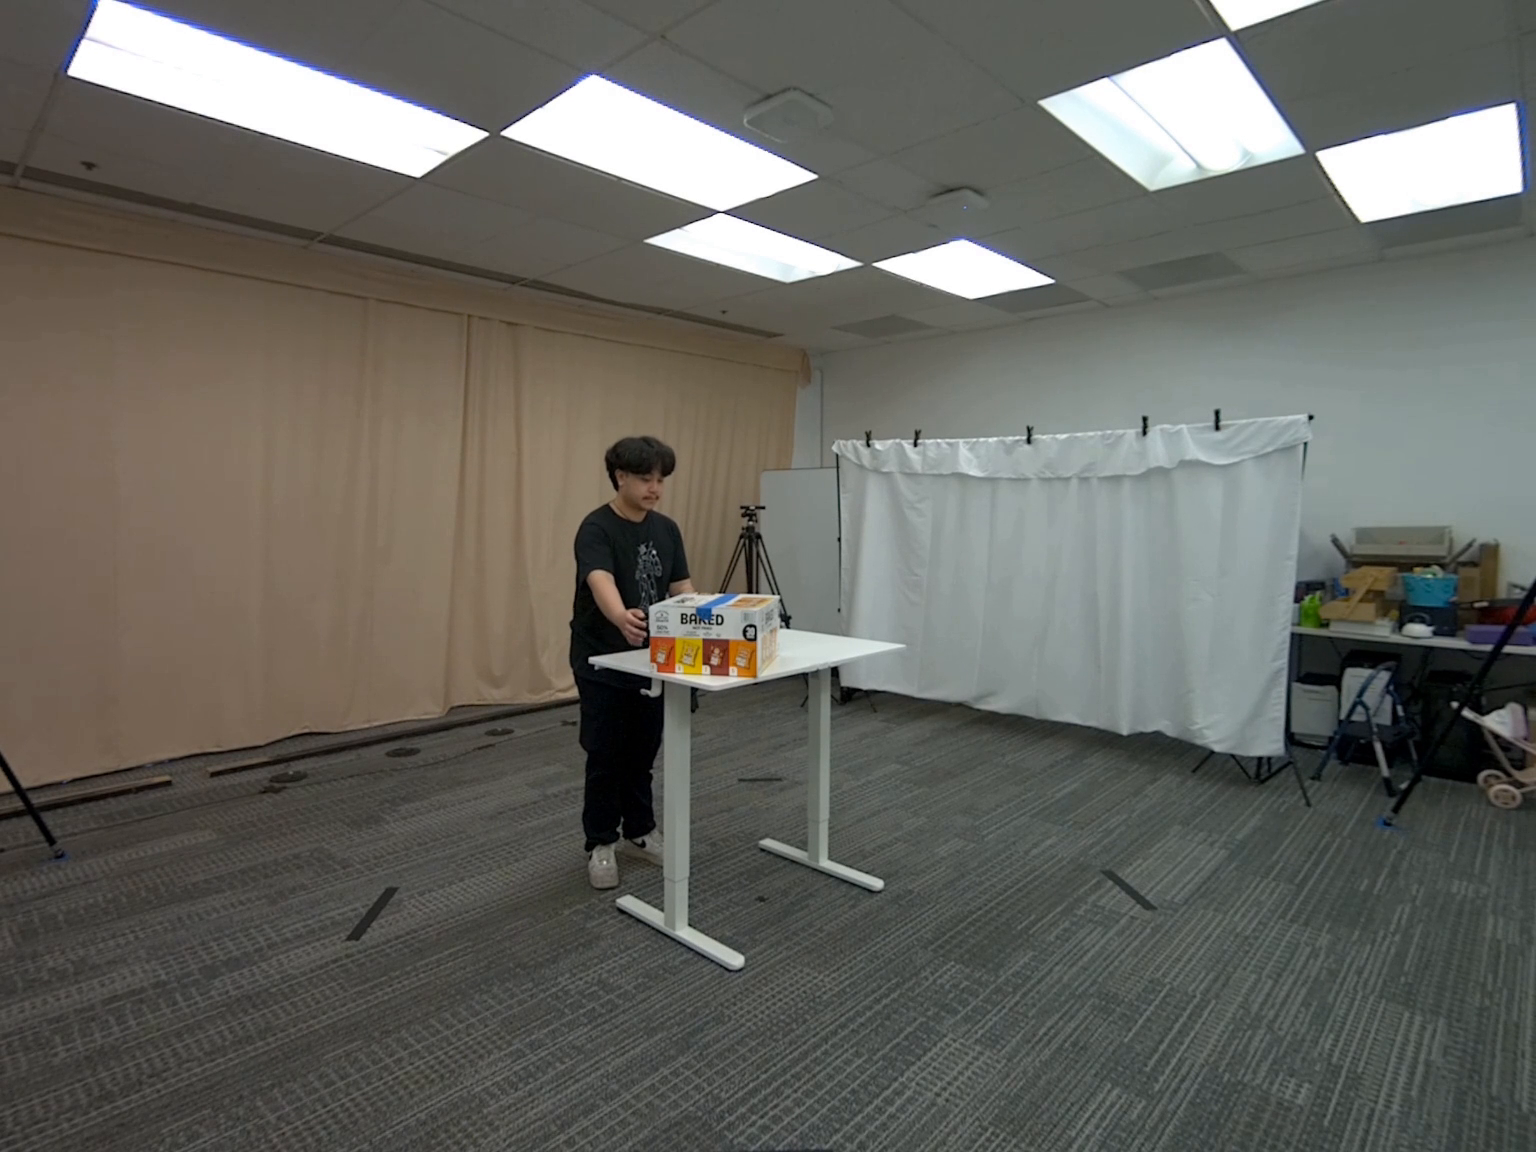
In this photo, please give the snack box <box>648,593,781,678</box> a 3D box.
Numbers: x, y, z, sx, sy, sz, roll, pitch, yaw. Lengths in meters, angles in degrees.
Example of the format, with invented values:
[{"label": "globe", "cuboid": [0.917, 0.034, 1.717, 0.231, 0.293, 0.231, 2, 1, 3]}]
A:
[{"label": "snack box", "cuboid": [-0.158, 0.180, 2.717, 0.345, 0.205, 0.400, 1, 4, 12]}]
